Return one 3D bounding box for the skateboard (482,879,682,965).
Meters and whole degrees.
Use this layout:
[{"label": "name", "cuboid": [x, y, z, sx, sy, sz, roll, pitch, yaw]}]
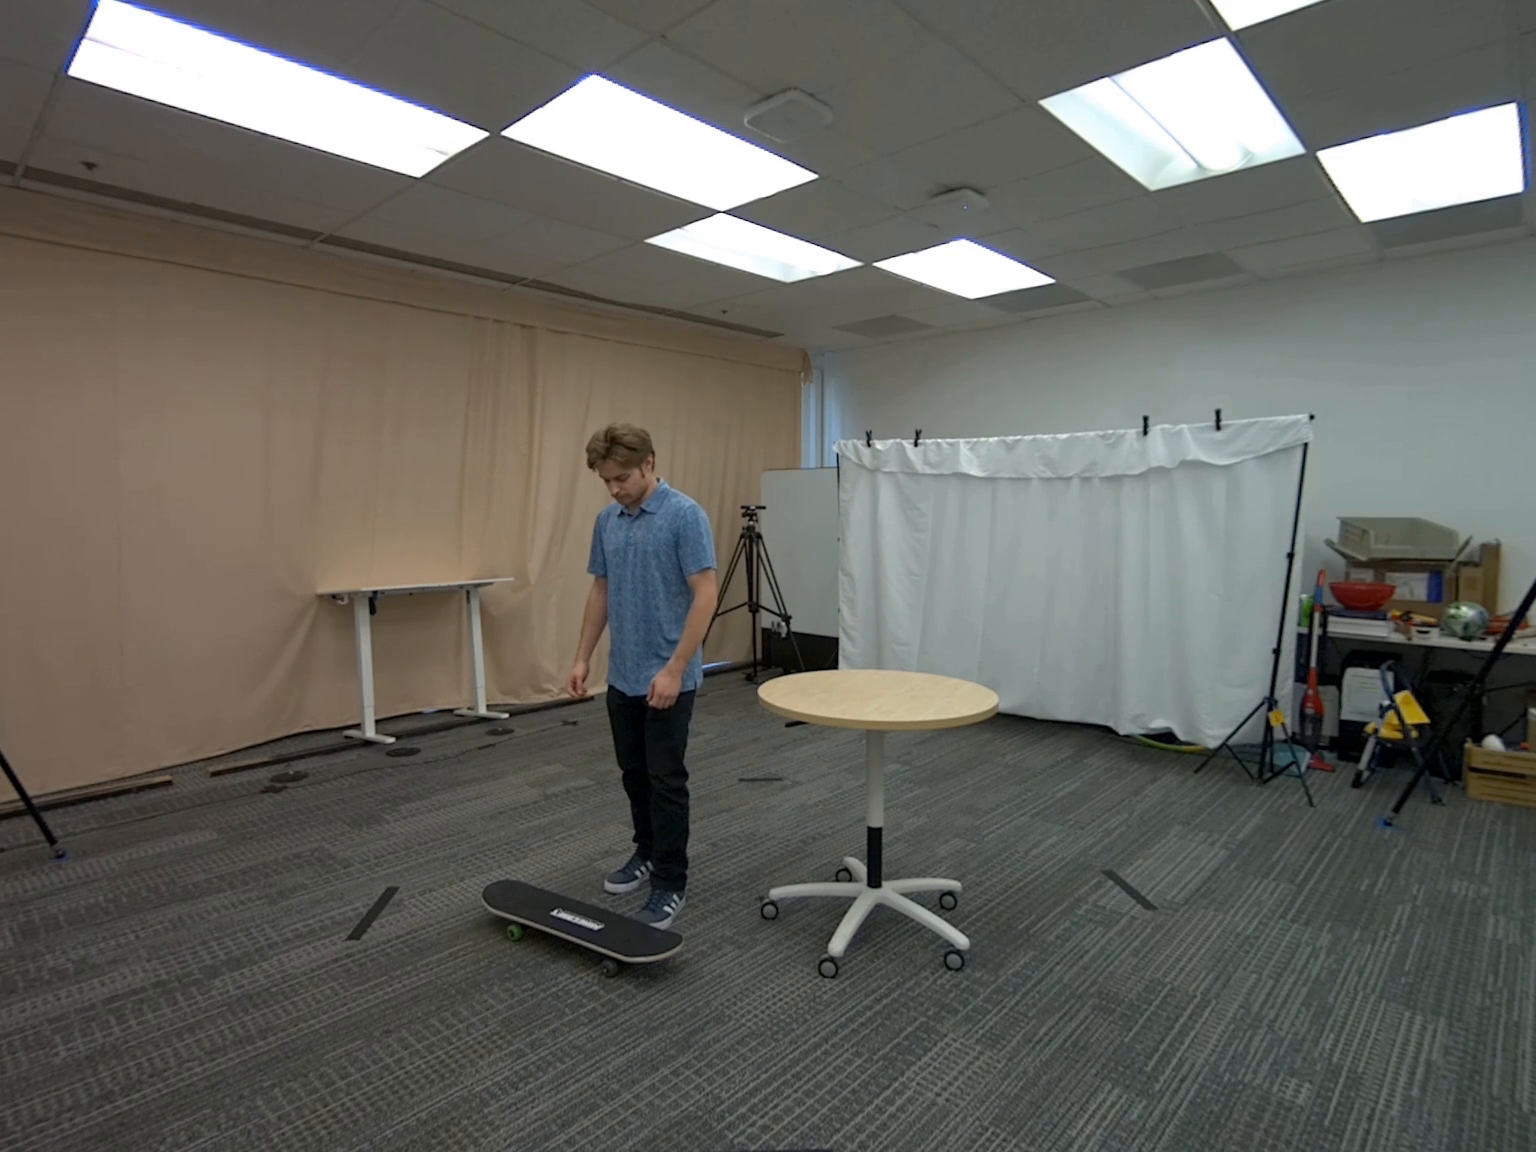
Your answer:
[{"label": "skateboard", "cuboid": [-0.596, 1.110, 2.665, 0.808, 0.110, 0.188, 2, 5, 31]}]
